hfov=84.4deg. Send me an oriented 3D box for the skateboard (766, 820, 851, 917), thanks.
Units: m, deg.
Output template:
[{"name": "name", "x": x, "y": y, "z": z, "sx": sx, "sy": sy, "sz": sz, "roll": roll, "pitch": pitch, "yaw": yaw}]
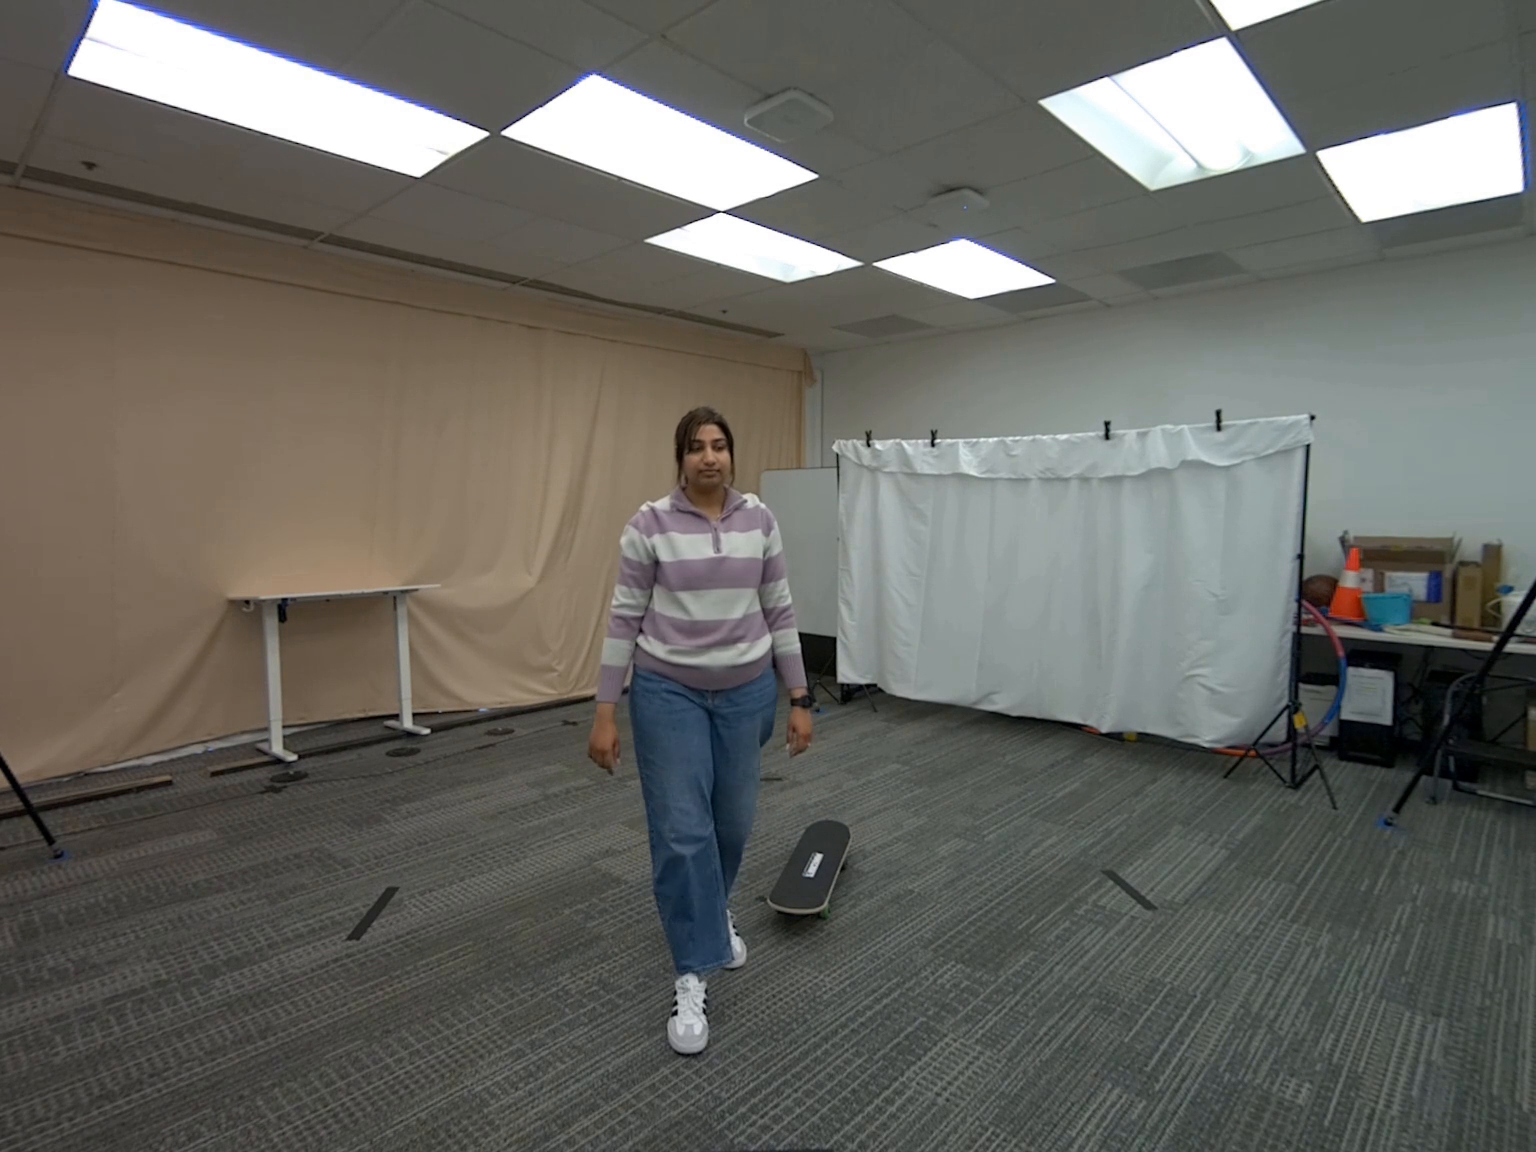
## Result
[{"name": "skateboard", "x": 0.169, "y": 1.080, "z": 3.053, "sx": 0.197, "sy": 0.110, "sz": 0.774, "roll": 1, "pitch": 5, "yaw": 14}]
